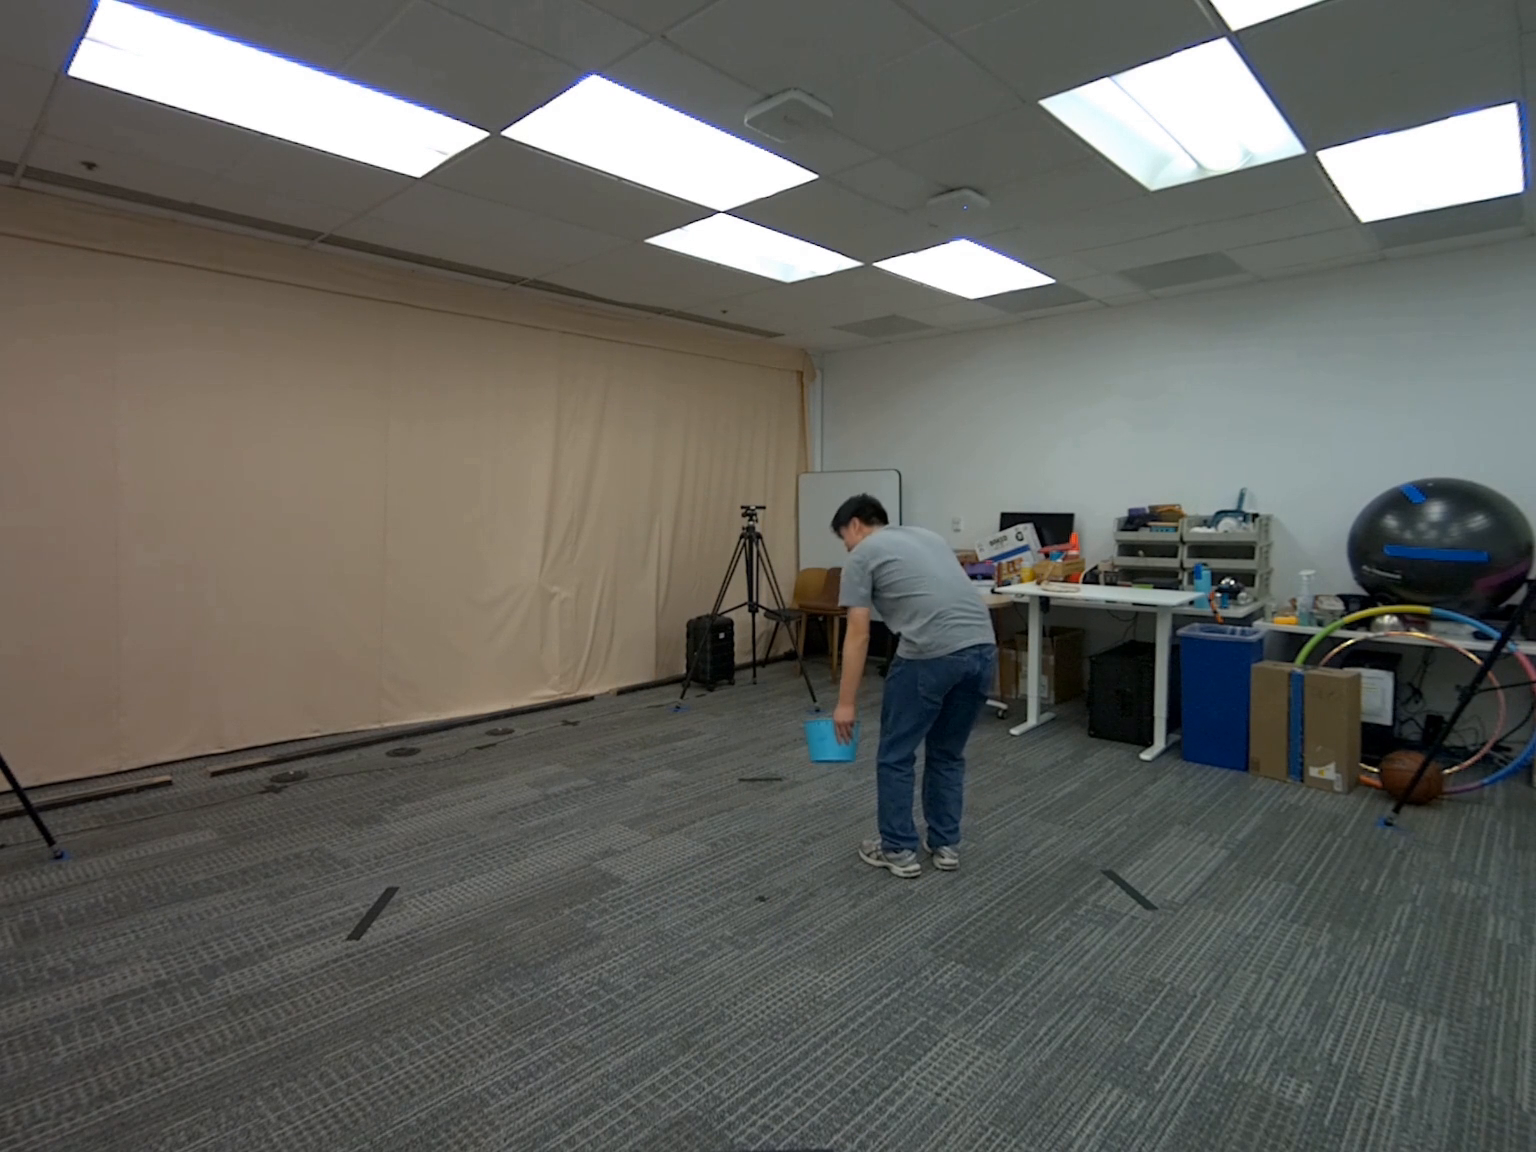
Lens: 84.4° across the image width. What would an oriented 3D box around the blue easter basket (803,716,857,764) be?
[{"bbox_3d":[0.273,0.663,3.338,0.243,0.157,0.241,1,-15,-1],"label":"blue easter basket"}]
